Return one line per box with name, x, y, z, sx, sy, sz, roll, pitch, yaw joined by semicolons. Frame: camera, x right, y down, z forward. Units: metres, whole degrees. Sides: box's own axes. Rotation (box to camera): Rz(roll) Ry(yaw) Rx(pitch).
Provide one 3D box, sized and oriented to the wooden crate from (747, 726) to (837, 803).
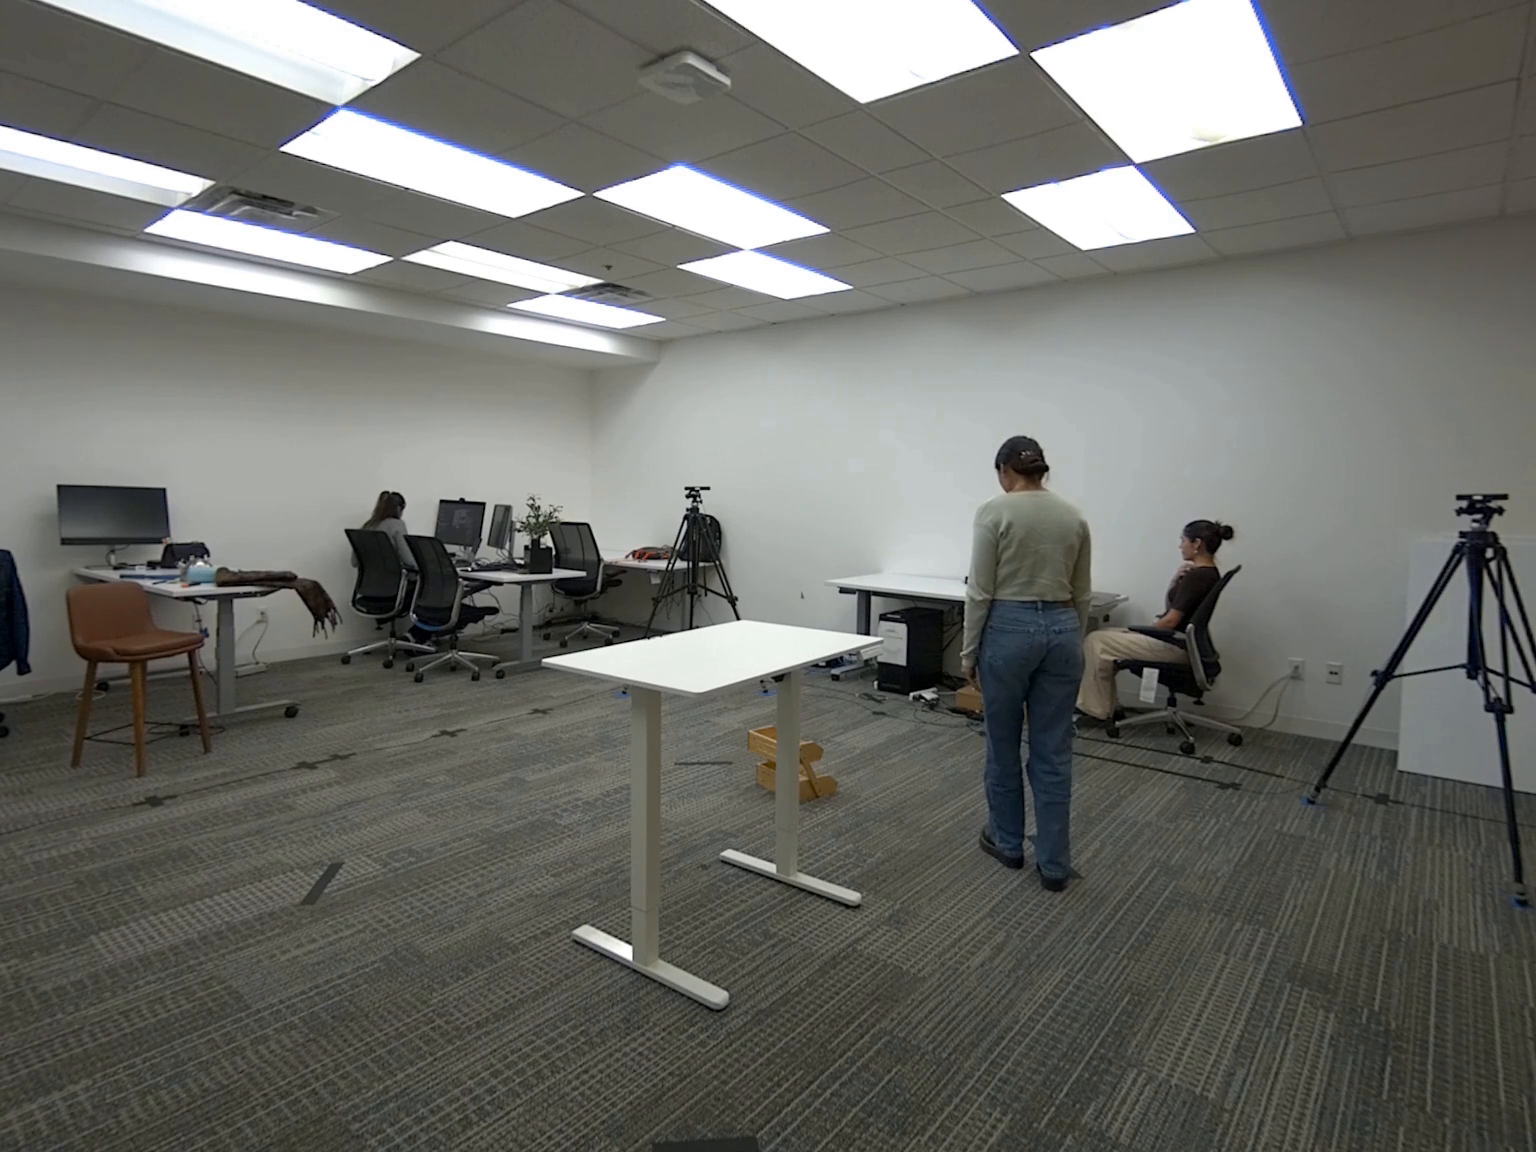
wooden crate;0.108;0.852;3.953;0.293;0.272;0.335;-4;7;-37
